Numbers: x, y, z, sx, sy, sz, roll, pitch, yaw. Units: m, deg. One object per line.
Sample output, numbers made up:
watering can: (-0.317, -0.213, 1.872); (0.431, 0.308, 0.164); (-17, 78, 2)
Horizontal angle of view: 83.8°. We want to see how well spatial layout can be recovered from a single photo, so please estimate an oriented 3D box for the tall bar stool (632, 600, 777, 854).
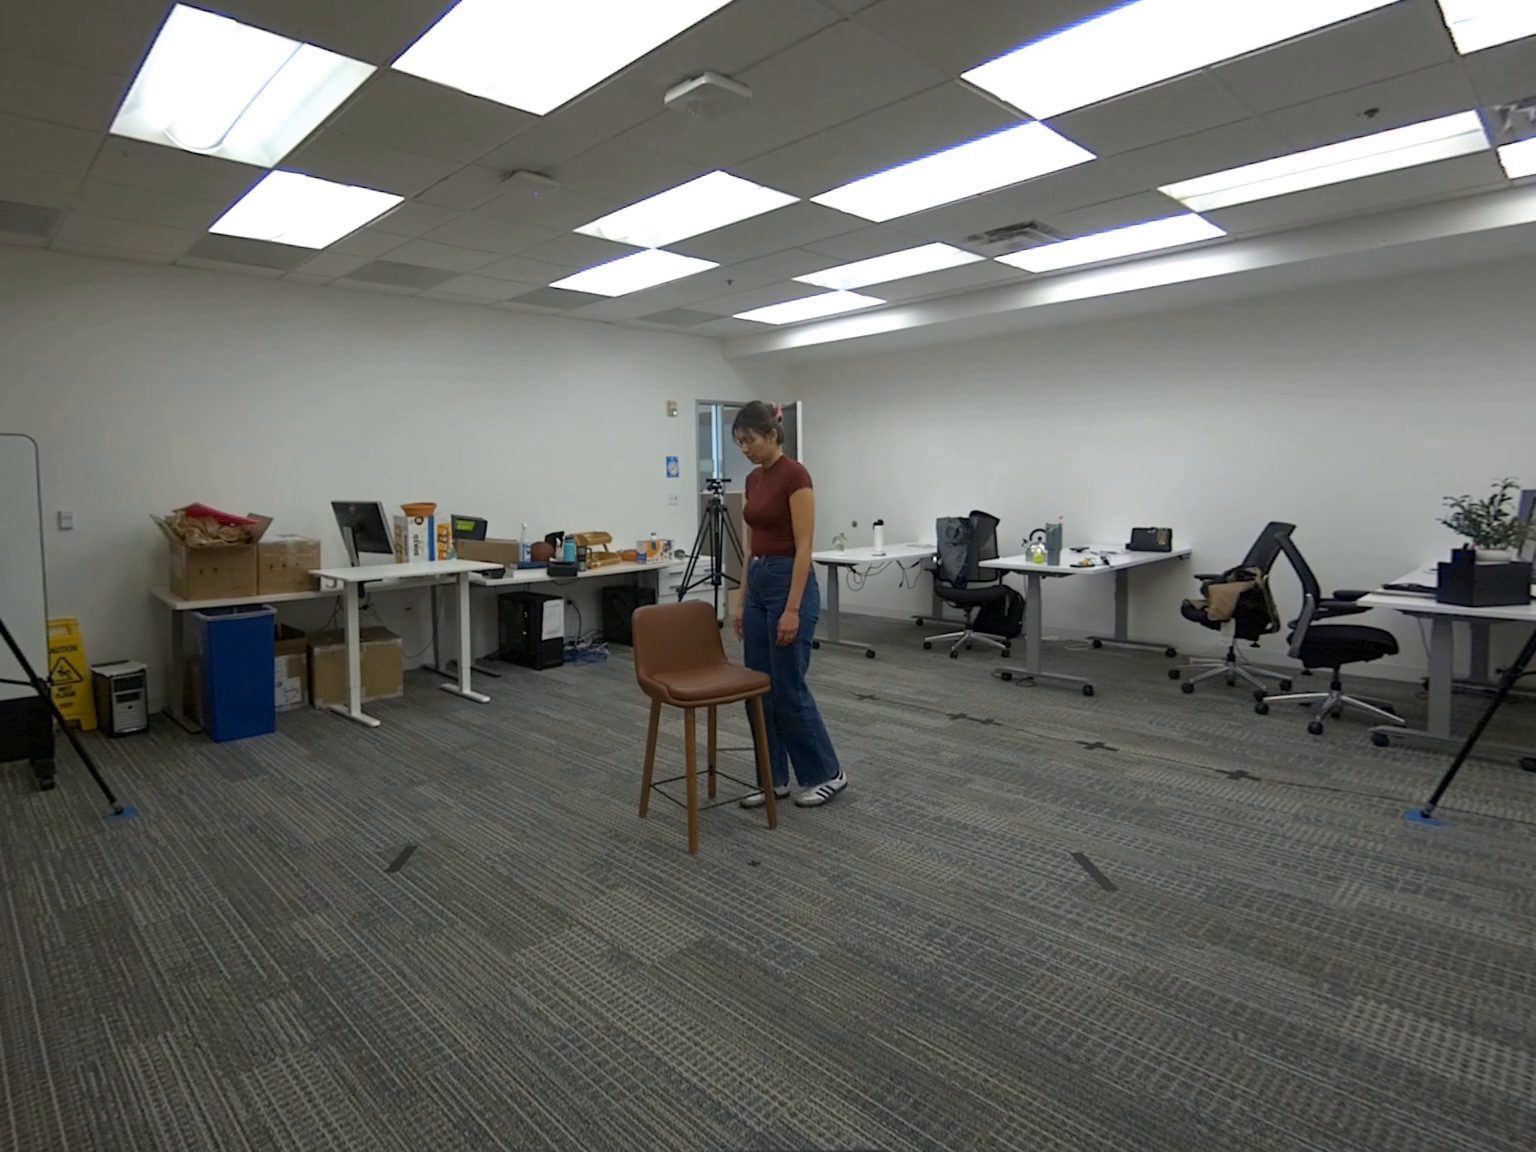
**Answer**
tall bar stool: (-0.271, 0.574, 3.461); (0.445, 0.888, 0.481); (-3, 3, -36)
